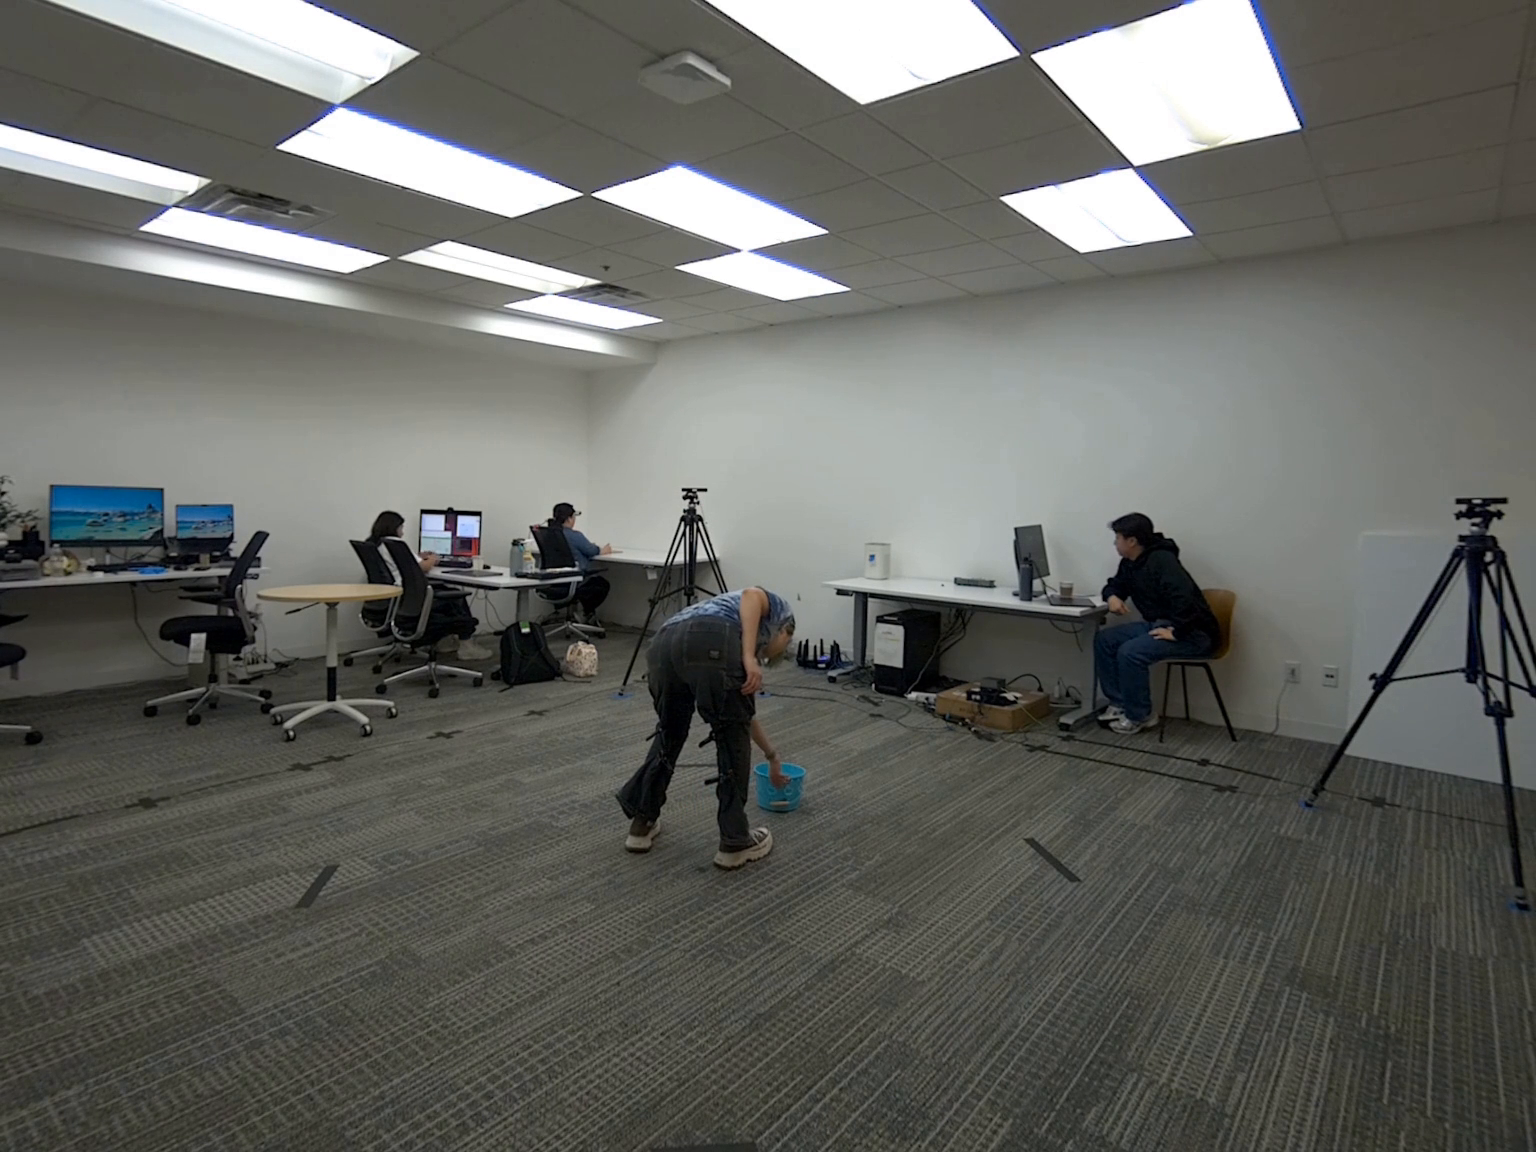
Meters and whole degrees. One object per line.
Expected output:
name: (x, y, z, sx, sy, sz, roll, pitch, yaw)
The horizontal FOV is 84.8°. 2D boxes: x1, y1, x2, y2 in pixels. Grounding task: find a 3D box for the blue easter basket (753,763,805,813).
blue easter basket: (0.030, 0.928, 3.764, 0.243, 0.156, 0.244, 2, 2, -2)
